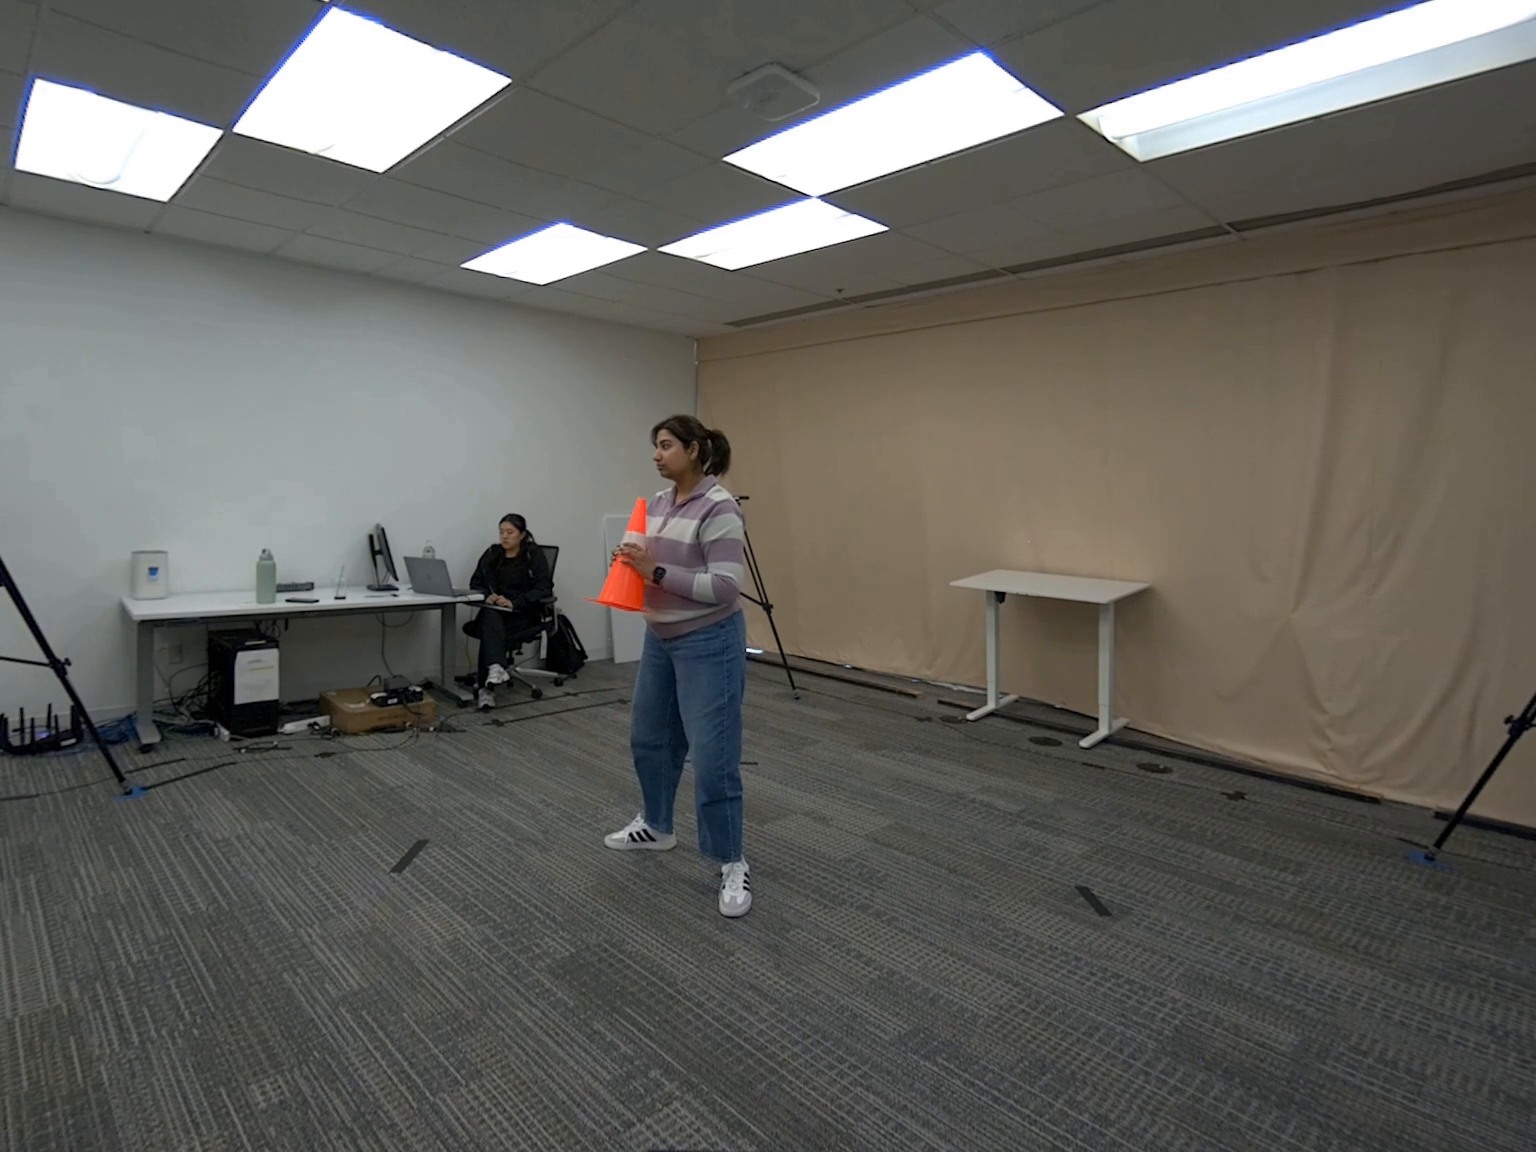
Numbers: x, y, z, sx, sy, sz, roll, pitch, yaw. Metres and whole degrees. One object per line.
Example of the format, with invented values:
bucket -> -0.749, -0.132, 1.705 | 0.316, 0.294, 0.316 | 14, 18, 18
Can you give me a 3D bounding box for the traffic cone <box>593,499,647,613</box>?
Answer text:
traffic cone -> -0.474, -0.077, 2.903 | 0.209, 0.385, 0.198 | 7, -8, 25
